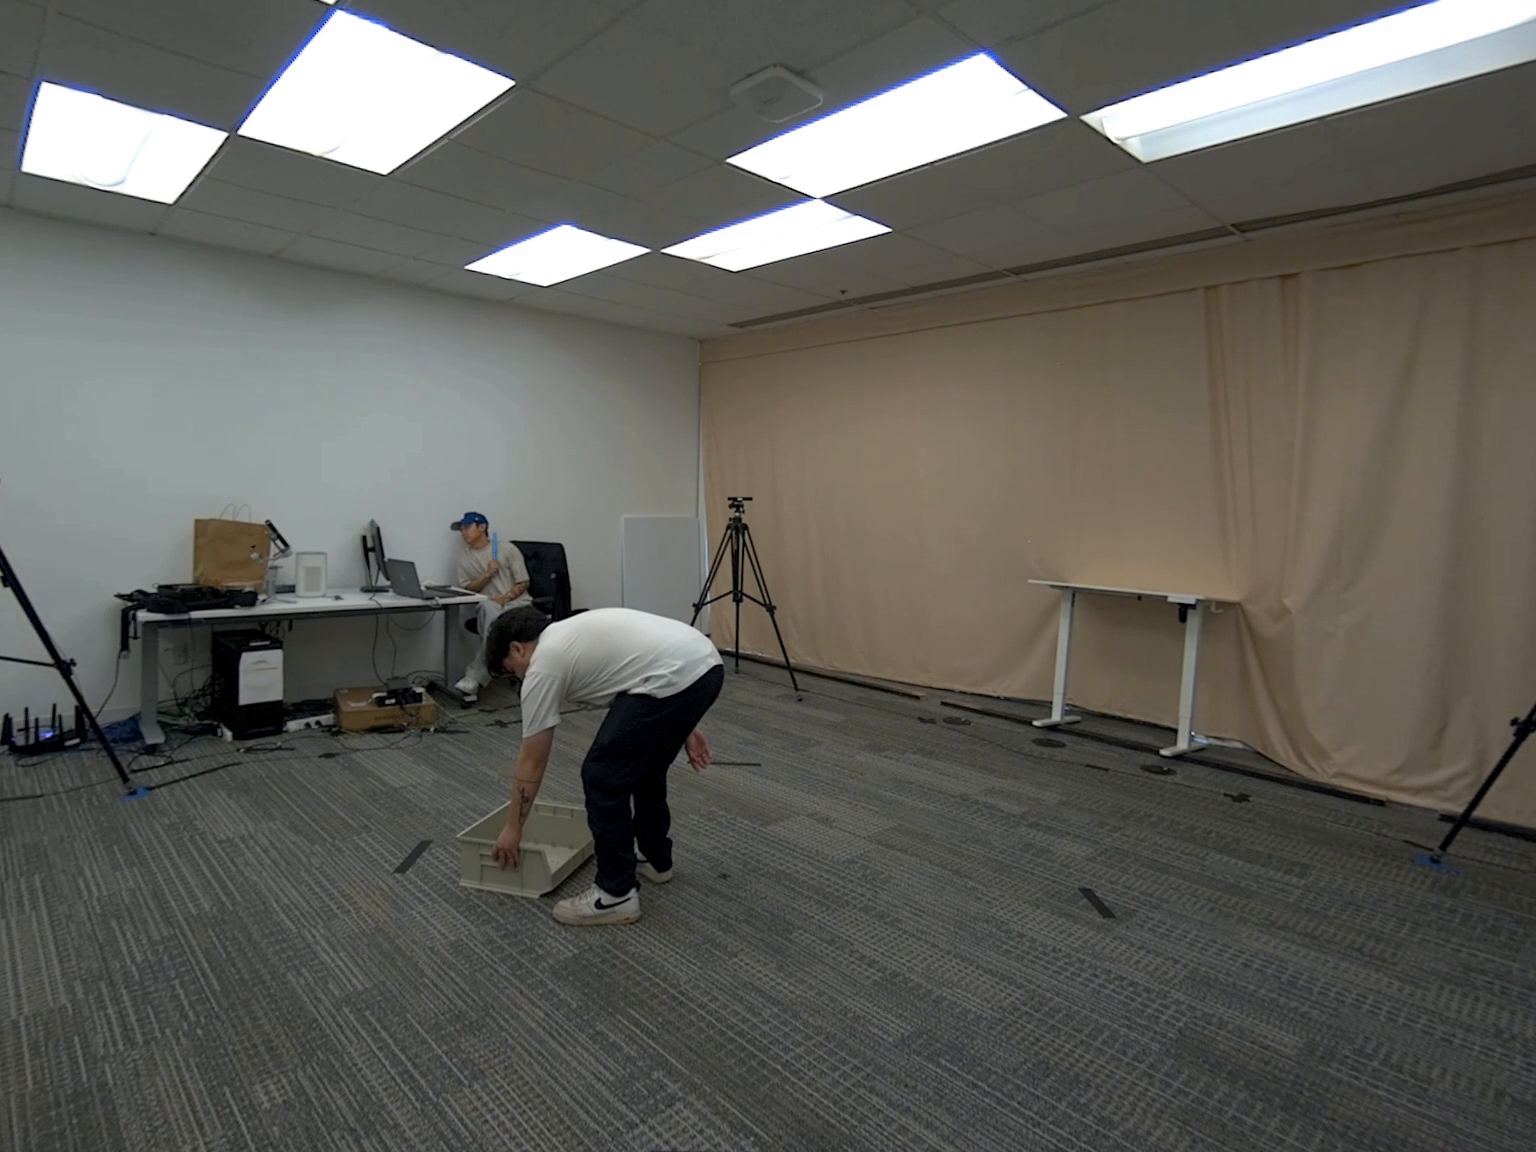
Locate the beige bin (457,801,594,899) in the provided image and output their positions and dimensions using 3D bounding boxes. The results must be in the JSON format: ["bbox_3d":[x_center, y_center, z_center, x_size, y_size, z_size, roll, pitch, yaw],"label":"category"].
[{"bbox_3d":[-0.876,1.000,3.126,0.382,0.188,0.418,2,6,14],"label":"beige bin"}]
